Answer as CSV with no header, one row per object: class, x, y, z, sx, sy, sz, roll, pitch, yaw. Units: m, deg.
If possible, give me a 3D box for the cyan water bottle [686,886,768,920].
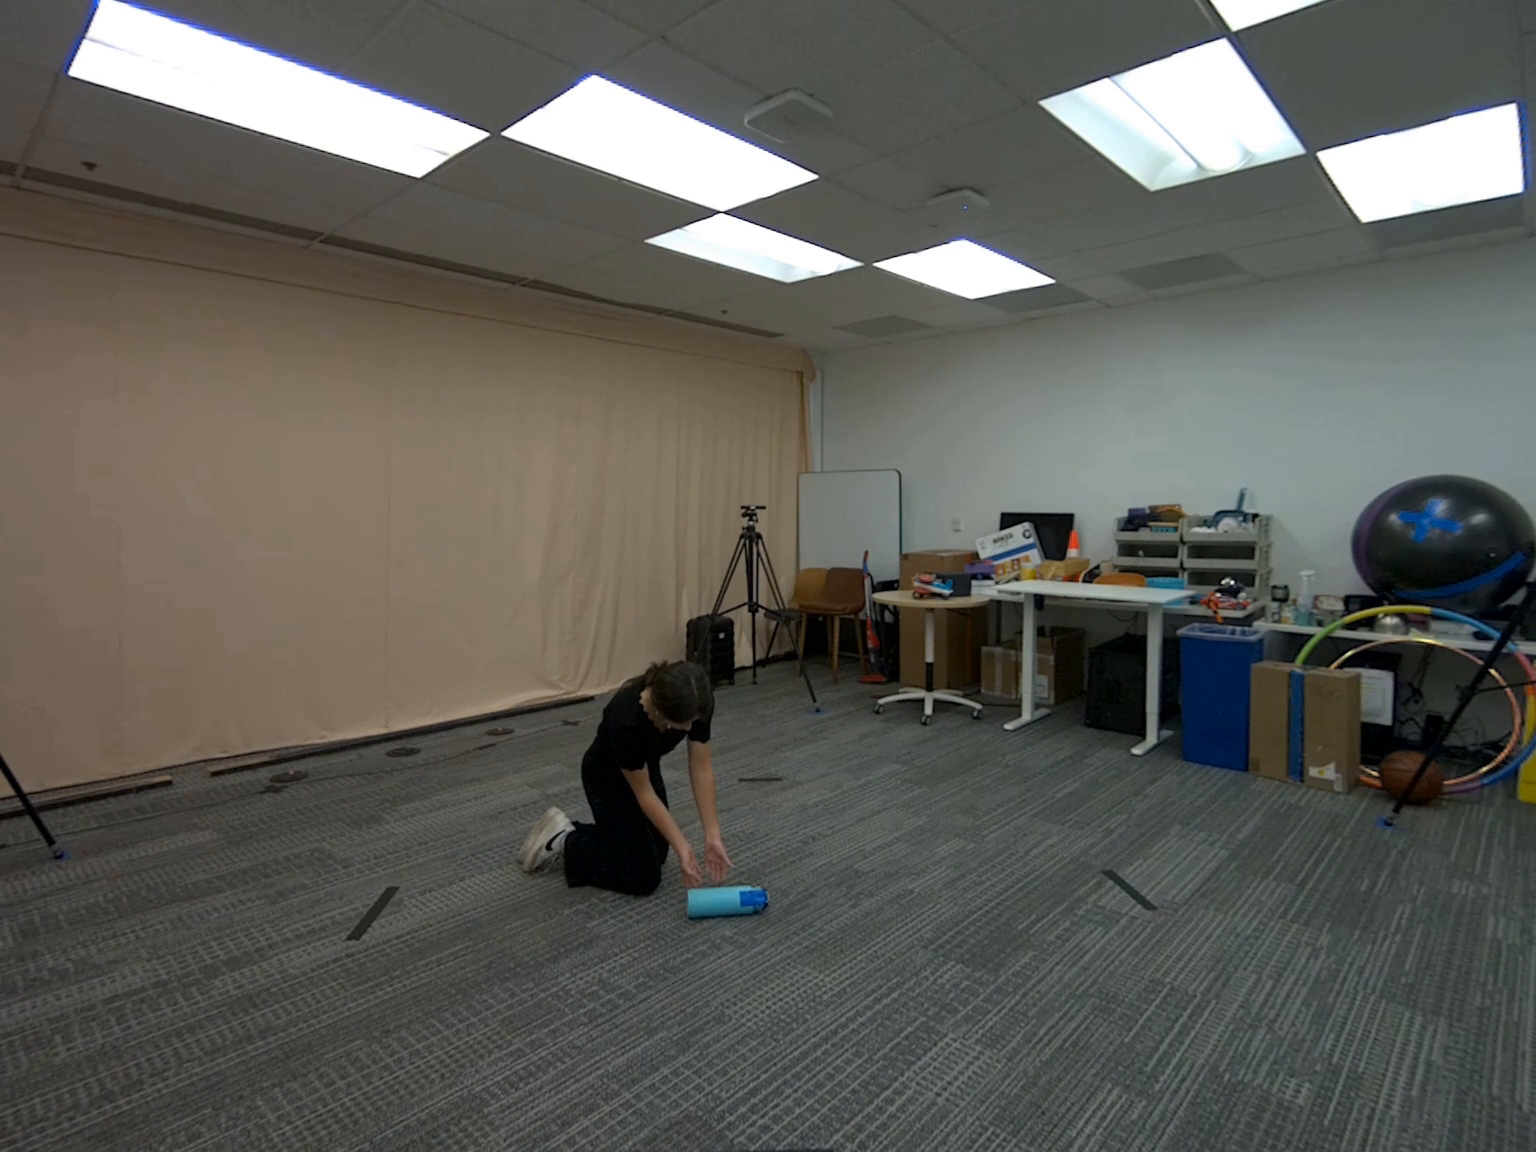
cyan water bottle,-0.131,1.109,2.870,0.281,0.092,0.093,-1,4,-6
